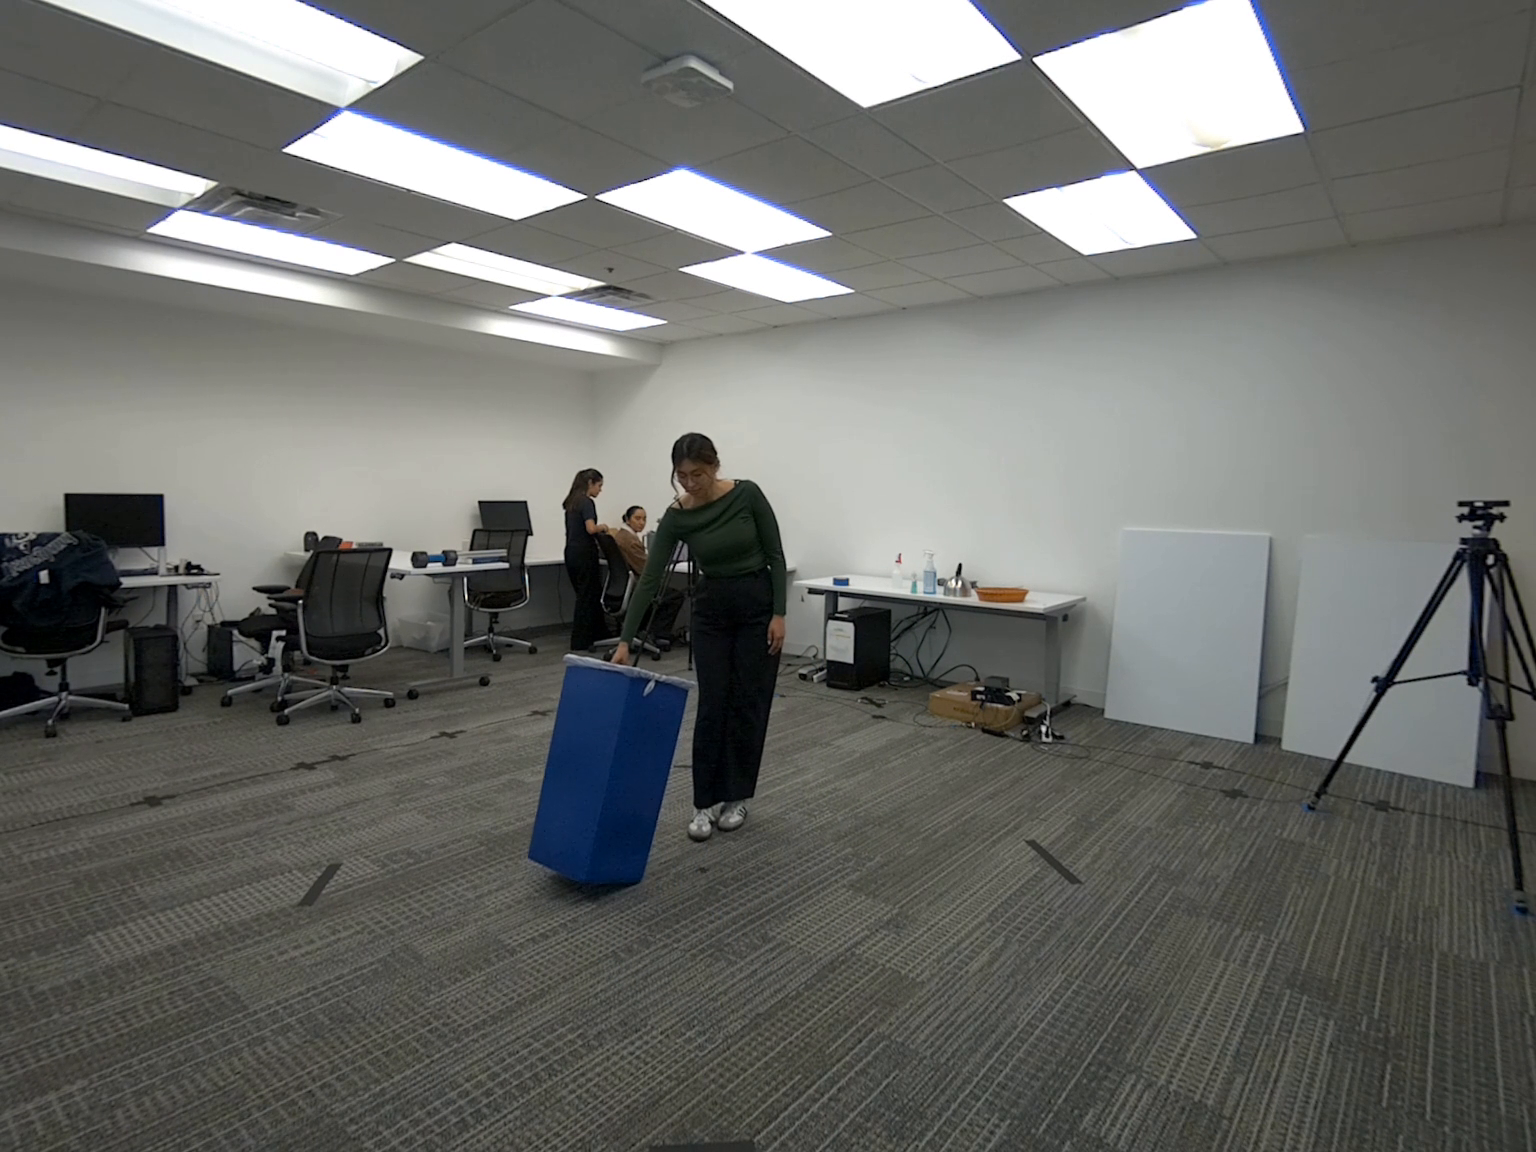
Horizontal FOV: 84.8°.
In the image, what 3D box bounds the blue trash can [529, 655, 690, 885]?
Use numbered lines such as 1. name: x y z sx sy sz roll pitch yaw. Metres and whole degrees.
1. blue trash can: -0.586 0.686 3.054 0.390 0.720 0.359 3 -14 36
